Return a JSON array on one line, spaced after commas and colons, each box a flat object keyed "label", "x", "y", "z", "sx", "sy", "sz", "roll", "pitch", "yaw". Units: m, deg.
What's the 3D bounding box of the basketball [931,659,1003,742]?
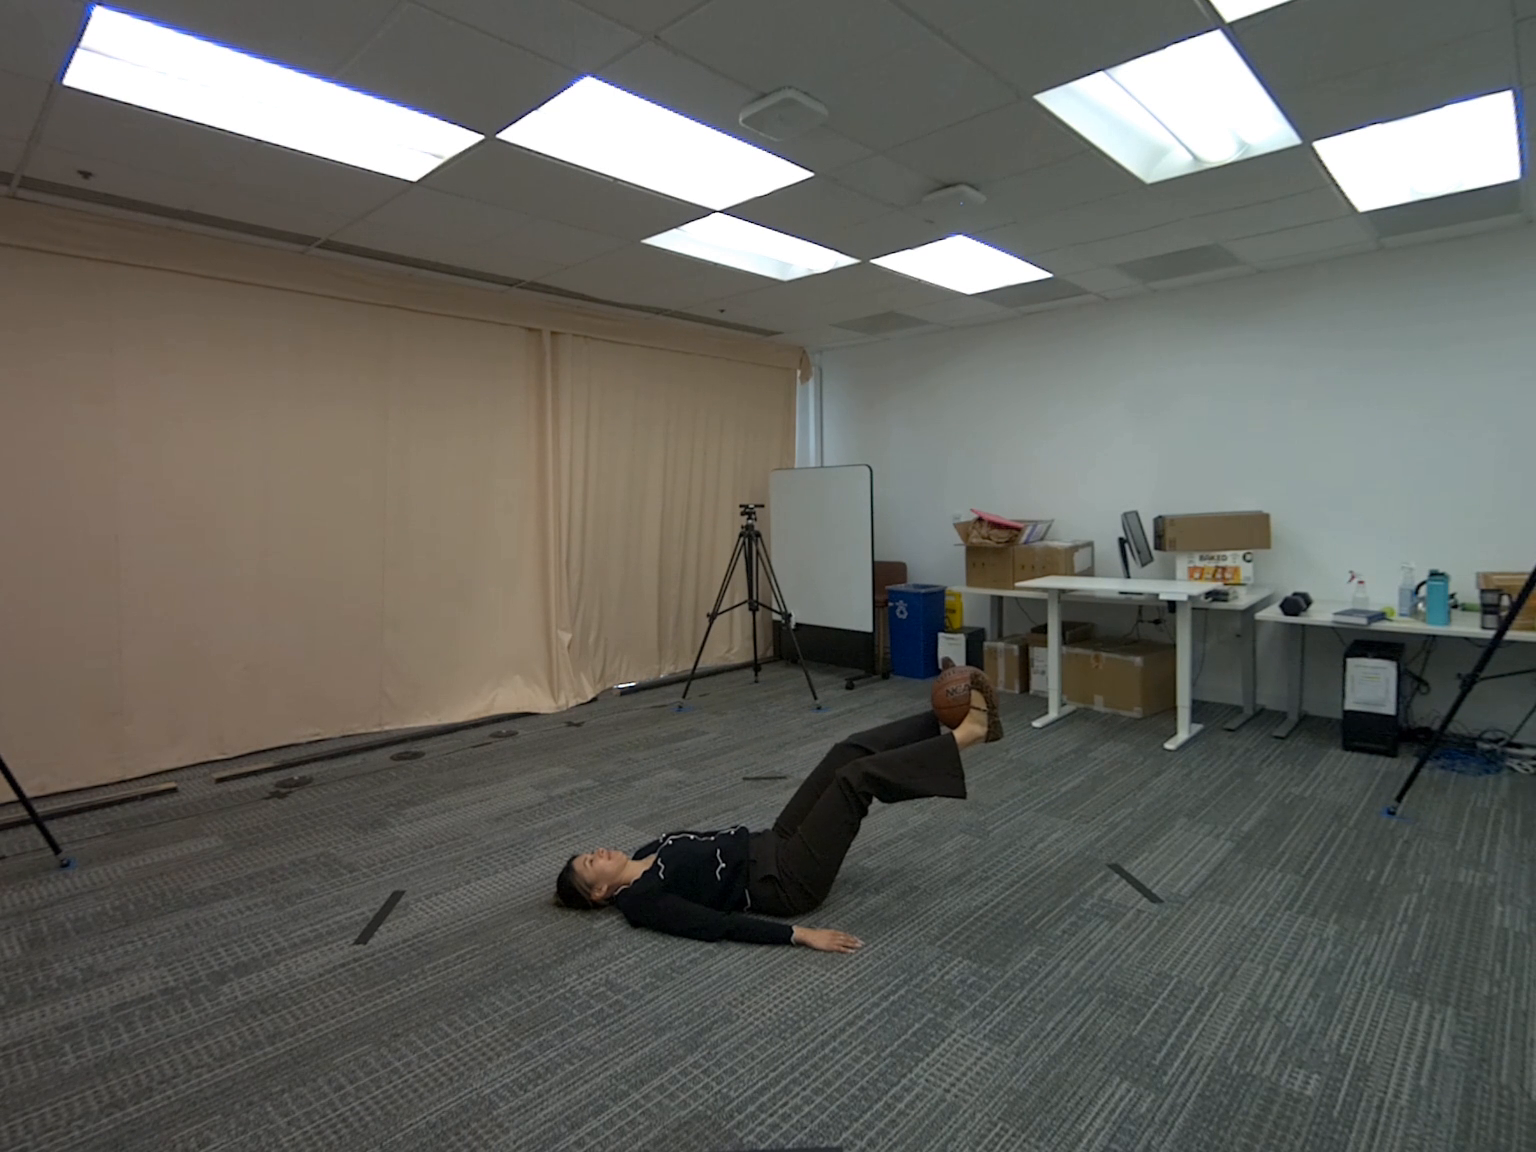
[{"label": "basketball", "x": 0.710, "y": 0.438, "z": 3.005, "sx": 0.236, "sy": 0.236, "sz": 0.236, "roll": 0, "pitch": 1, "yaw": -2}]
